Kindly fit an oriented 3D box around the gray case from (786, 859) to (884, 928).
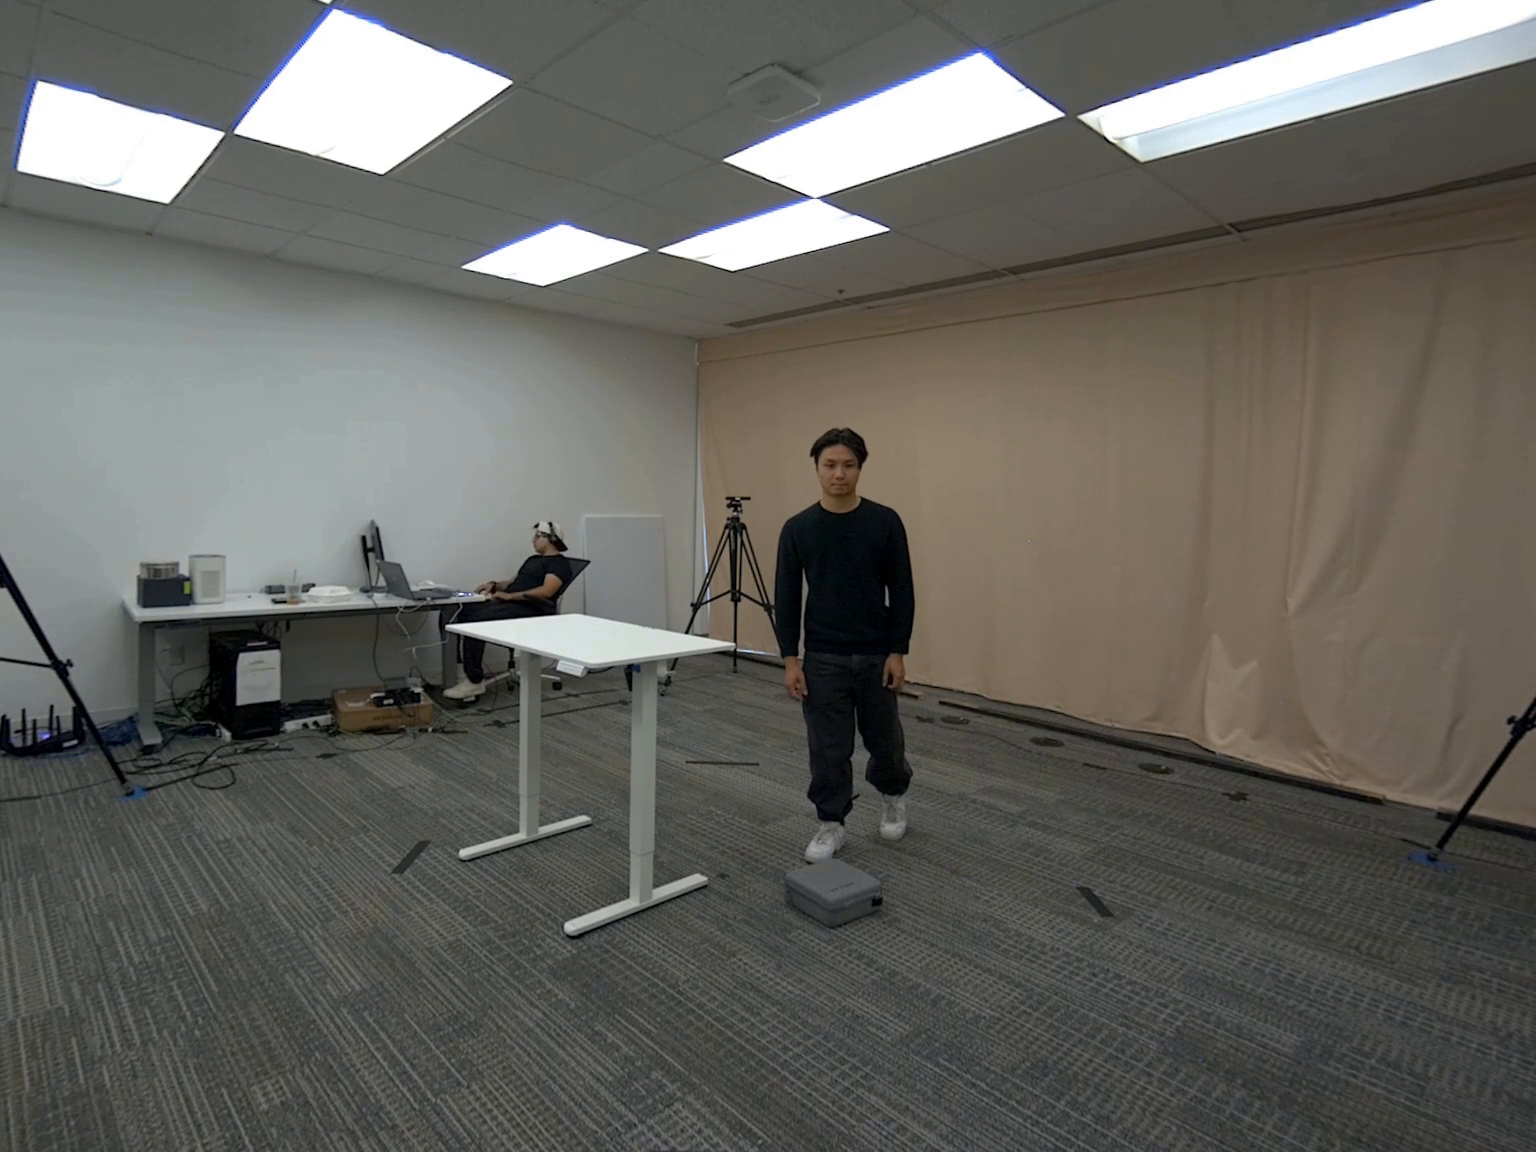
[{"bbox_3d":[0.212,1.073,2.889,0.251,0.104,0.267,-5,7,-38],"label":"gray case"}]
